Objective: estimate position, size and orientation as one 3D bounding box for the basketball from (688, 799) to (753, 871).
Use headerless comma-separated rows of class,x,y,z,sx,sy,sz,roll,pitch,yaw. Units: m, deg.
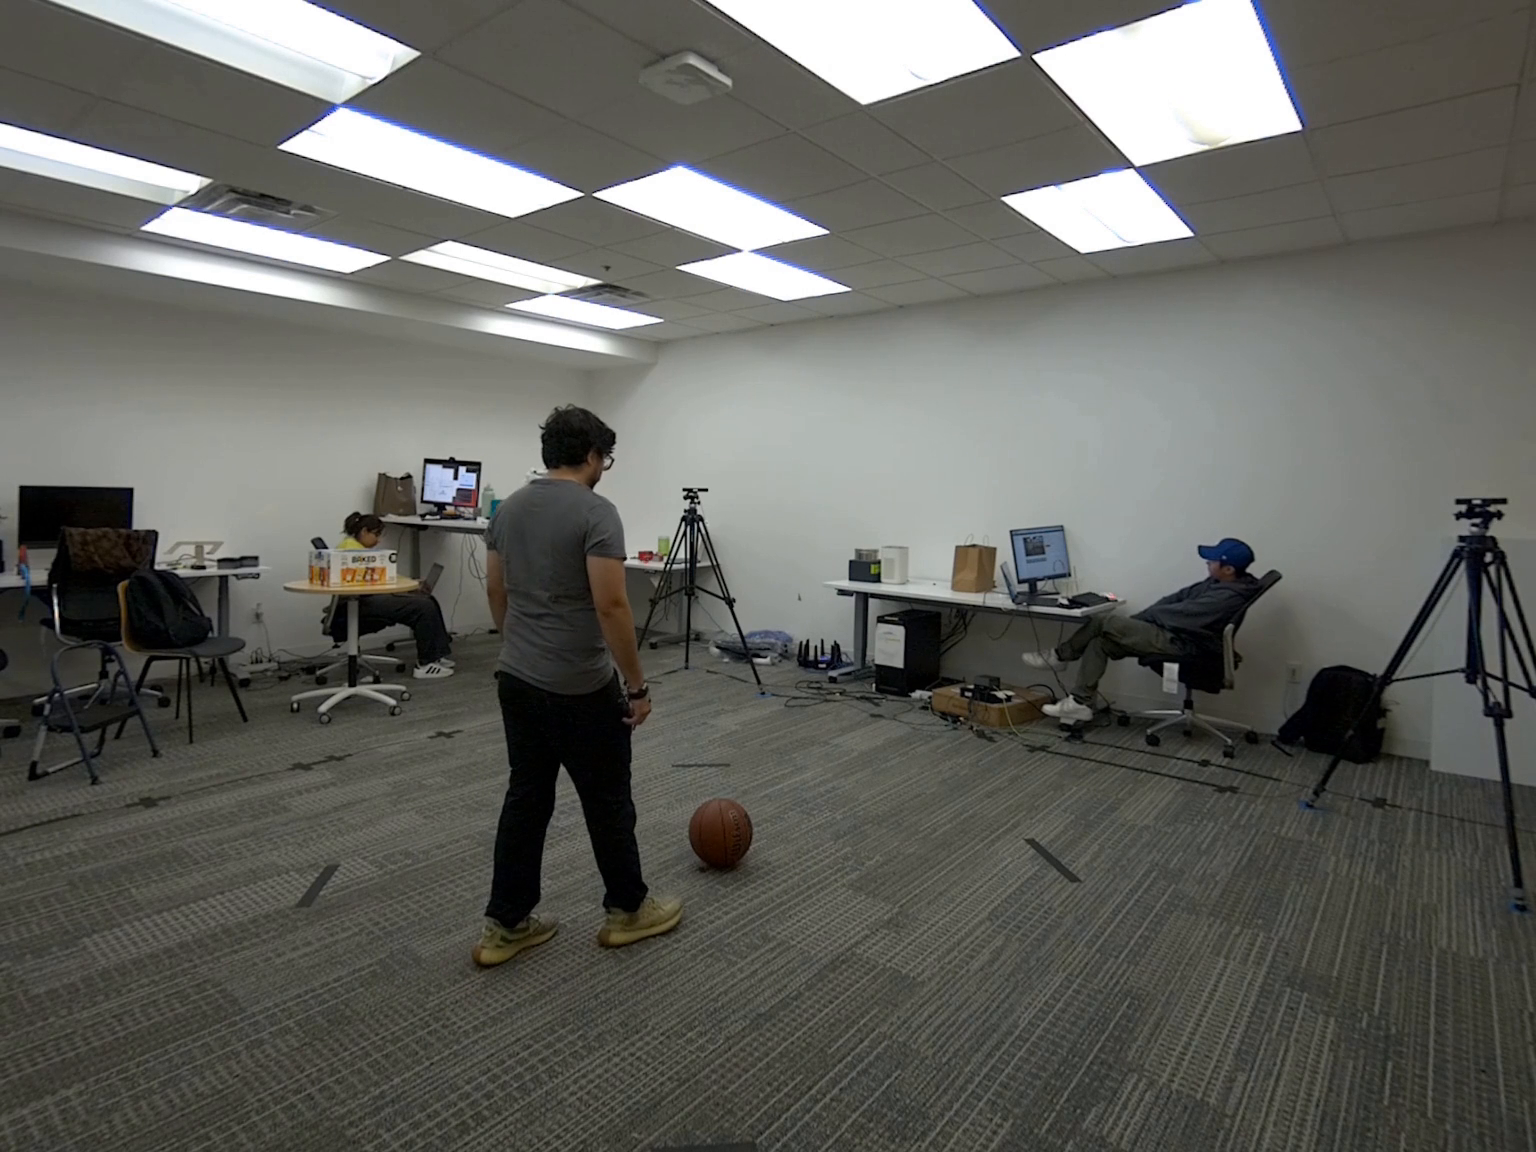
basketball,-0.183,0.941,3.149,0.235,0.235,0.237,1,4,-2
